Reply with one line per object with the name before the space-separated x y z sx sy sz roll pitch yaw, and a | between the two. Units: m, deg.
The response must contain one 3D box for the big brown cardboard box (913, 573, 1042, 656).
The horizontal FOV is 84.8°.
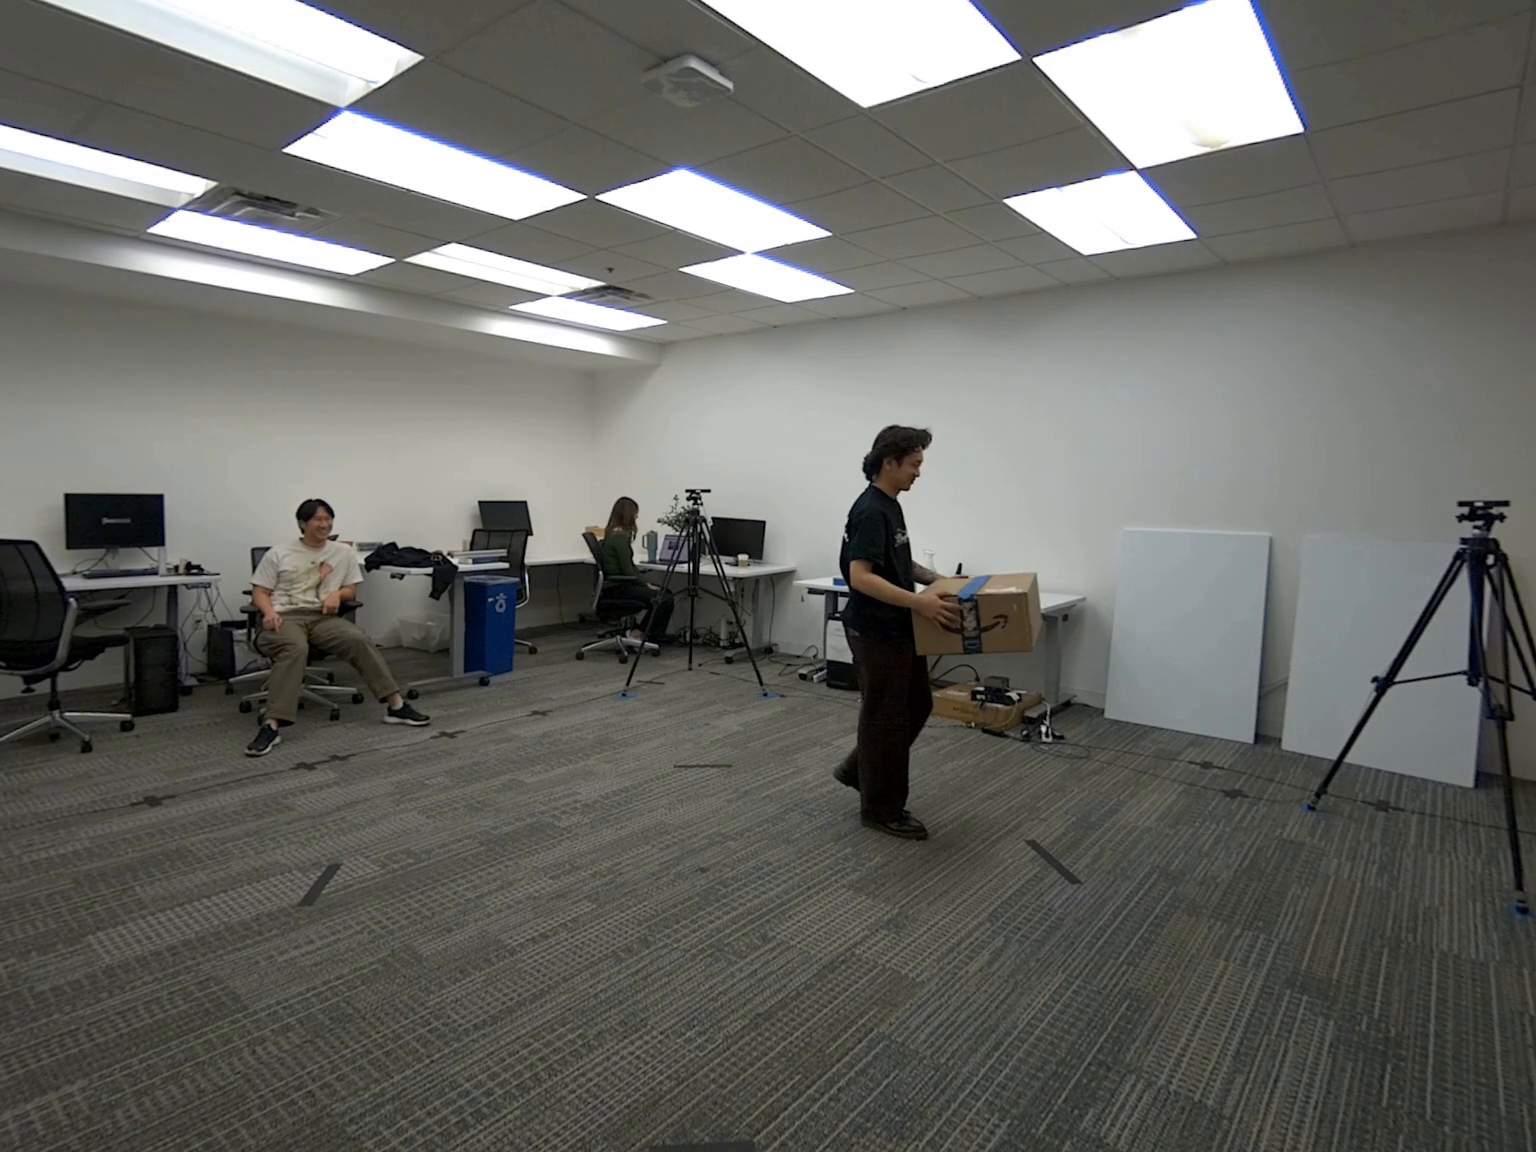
big brown cardboard box | 0.827 0.140 3.362 0.426 0.232 0.578 -5 4 23
